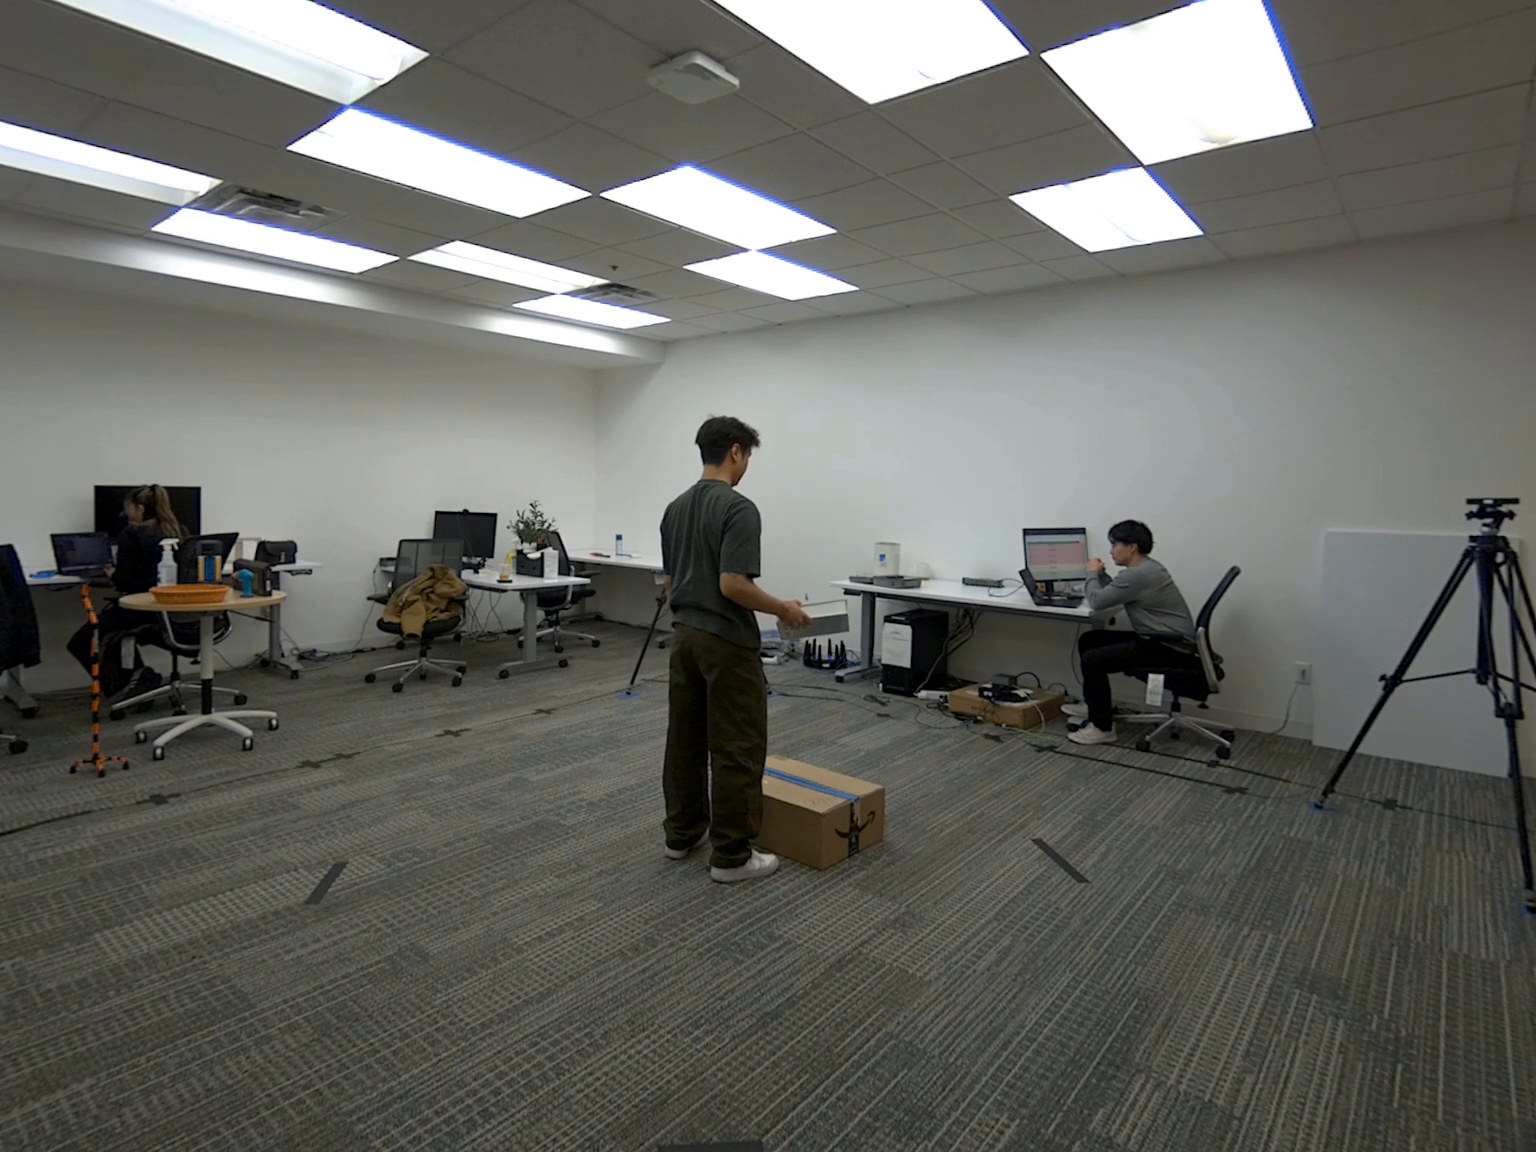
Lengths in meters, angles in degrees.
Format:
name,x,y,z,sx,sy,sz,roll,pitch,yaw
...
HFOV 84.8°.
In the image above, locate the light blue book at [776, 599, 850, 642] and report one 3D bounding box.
name,x,y,z,sx,sy,sz,roll,pitch,yaw
light blue book,0.158,0.168,3.154,0.262,0.060,0.185,-7,-27,5
